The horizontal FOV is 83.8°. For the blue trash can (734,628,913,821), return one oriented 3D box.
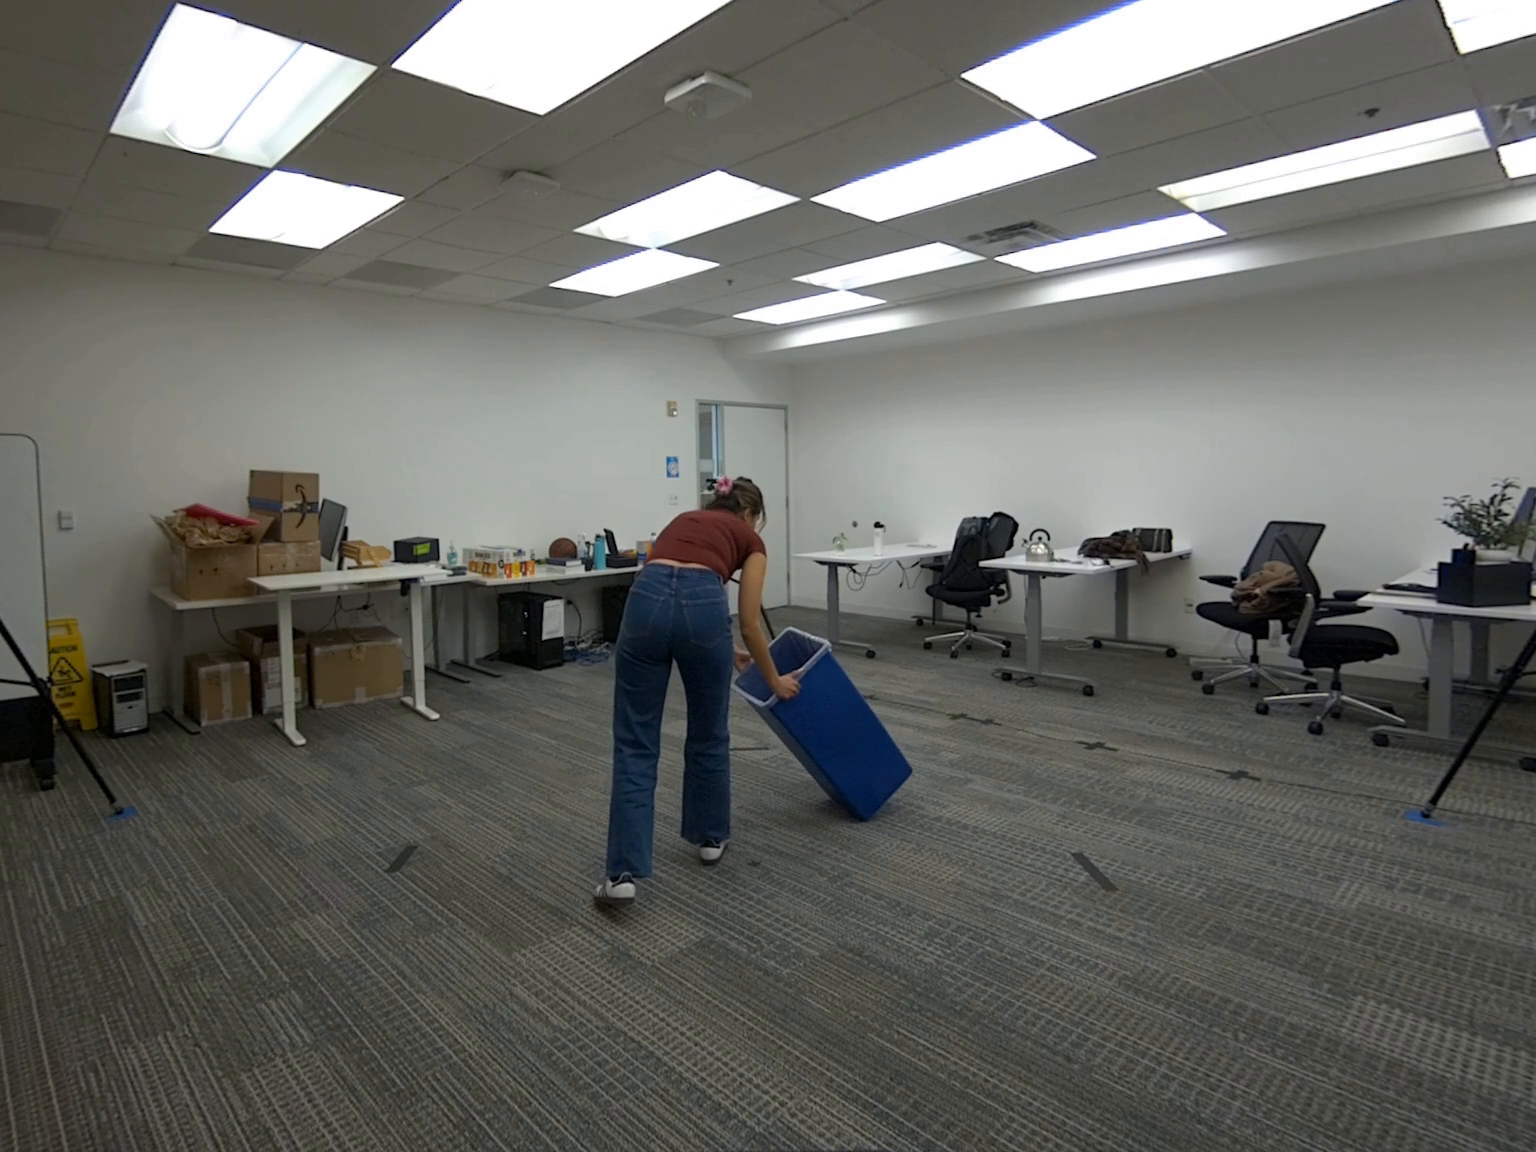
[{"bbox_3d":[0.220,0.620,3.536,0.373,0.698,0.387,-41,19,-16],"label":"blue trash can"}]
